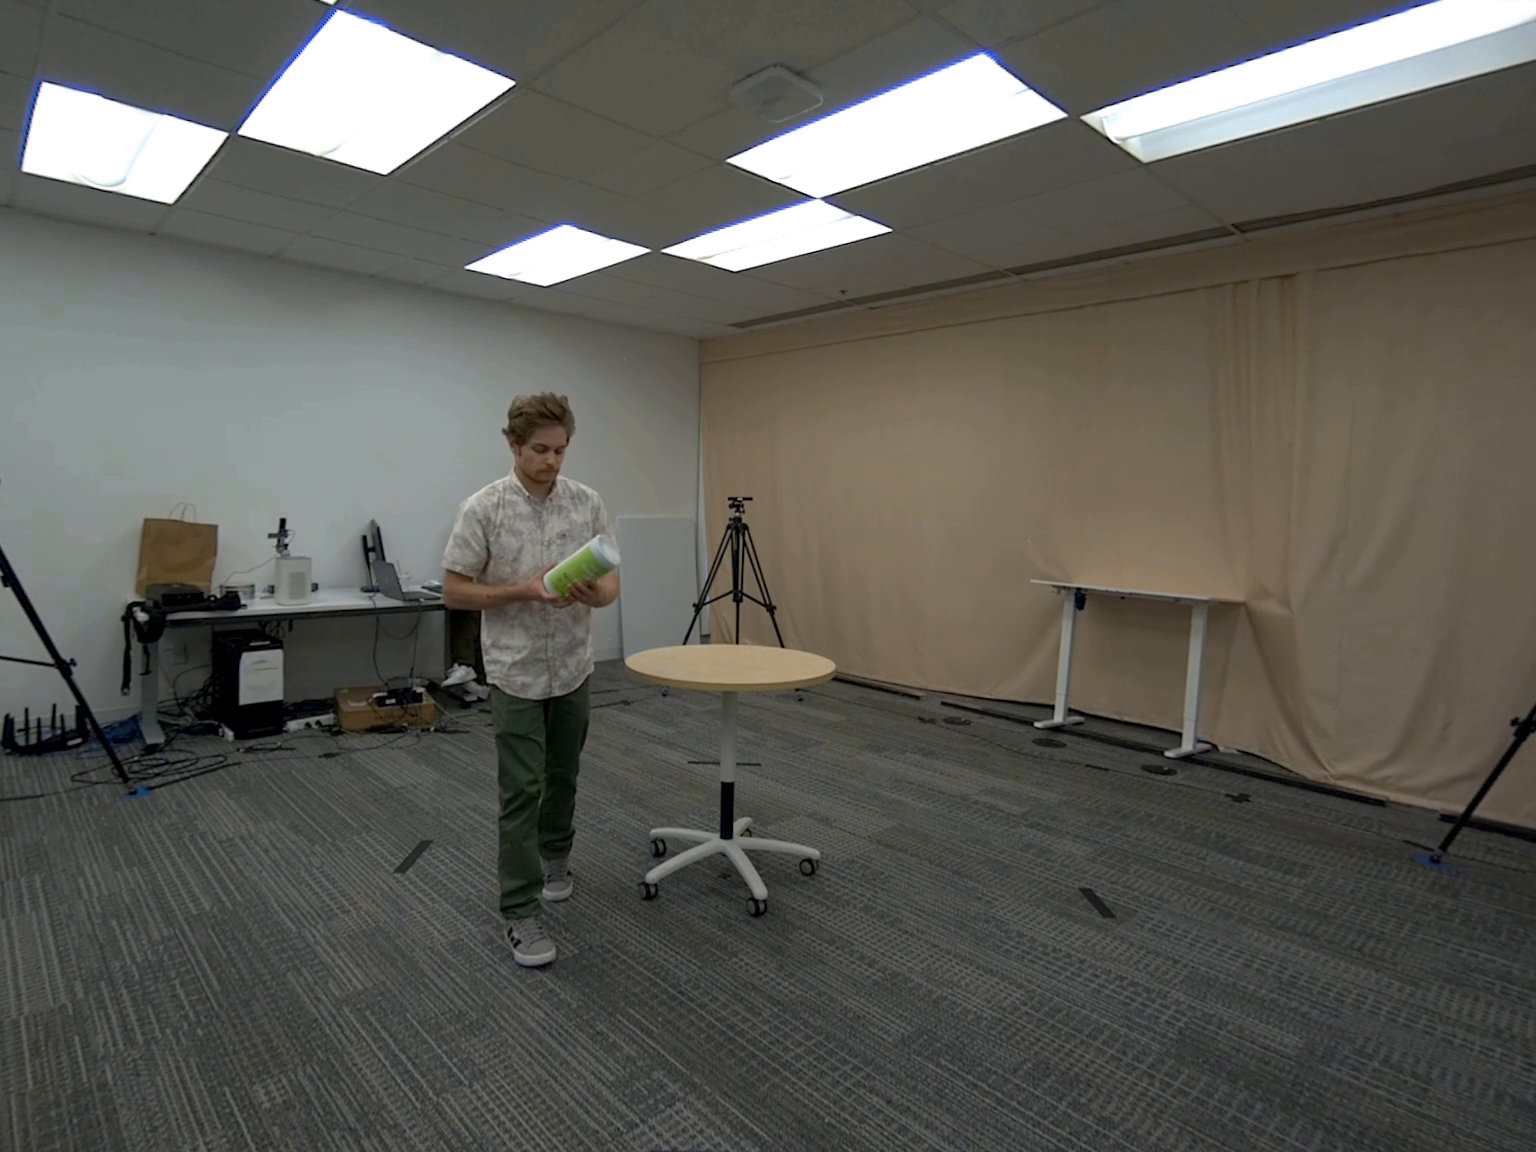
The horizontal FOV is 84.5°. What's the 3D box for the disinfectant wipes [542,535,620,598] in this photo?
[{"bbox_3d":[-0.556,-0.024,2.469,0.218,0.119,0.116,-33,-7,18],"label":"disinfectant wipes"}]
